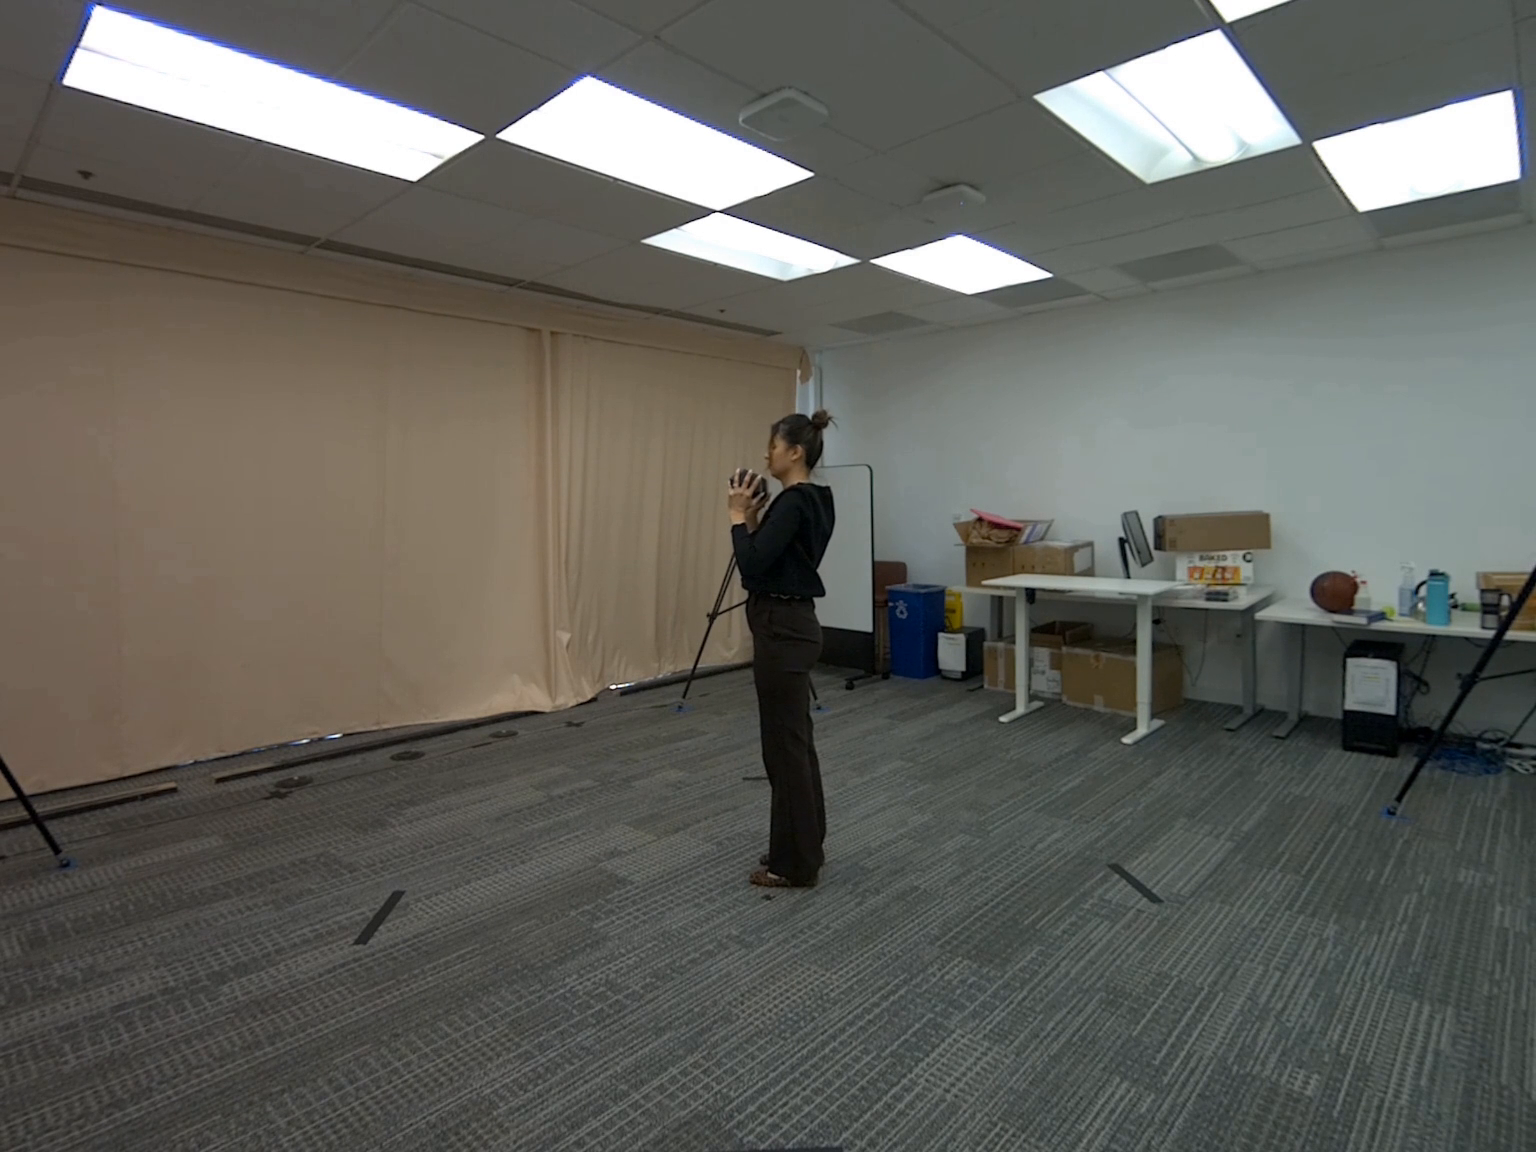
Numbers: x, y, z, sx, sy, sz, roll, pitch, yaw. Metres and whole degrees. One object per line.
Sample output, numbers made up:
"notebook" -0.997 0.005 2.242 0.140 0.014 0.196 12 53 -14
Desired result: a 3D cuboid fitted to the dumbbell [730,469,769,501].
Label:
"dumbbell" -0.061 -0.336 3.169 0.123 0.109 0.292 -36 0 7
